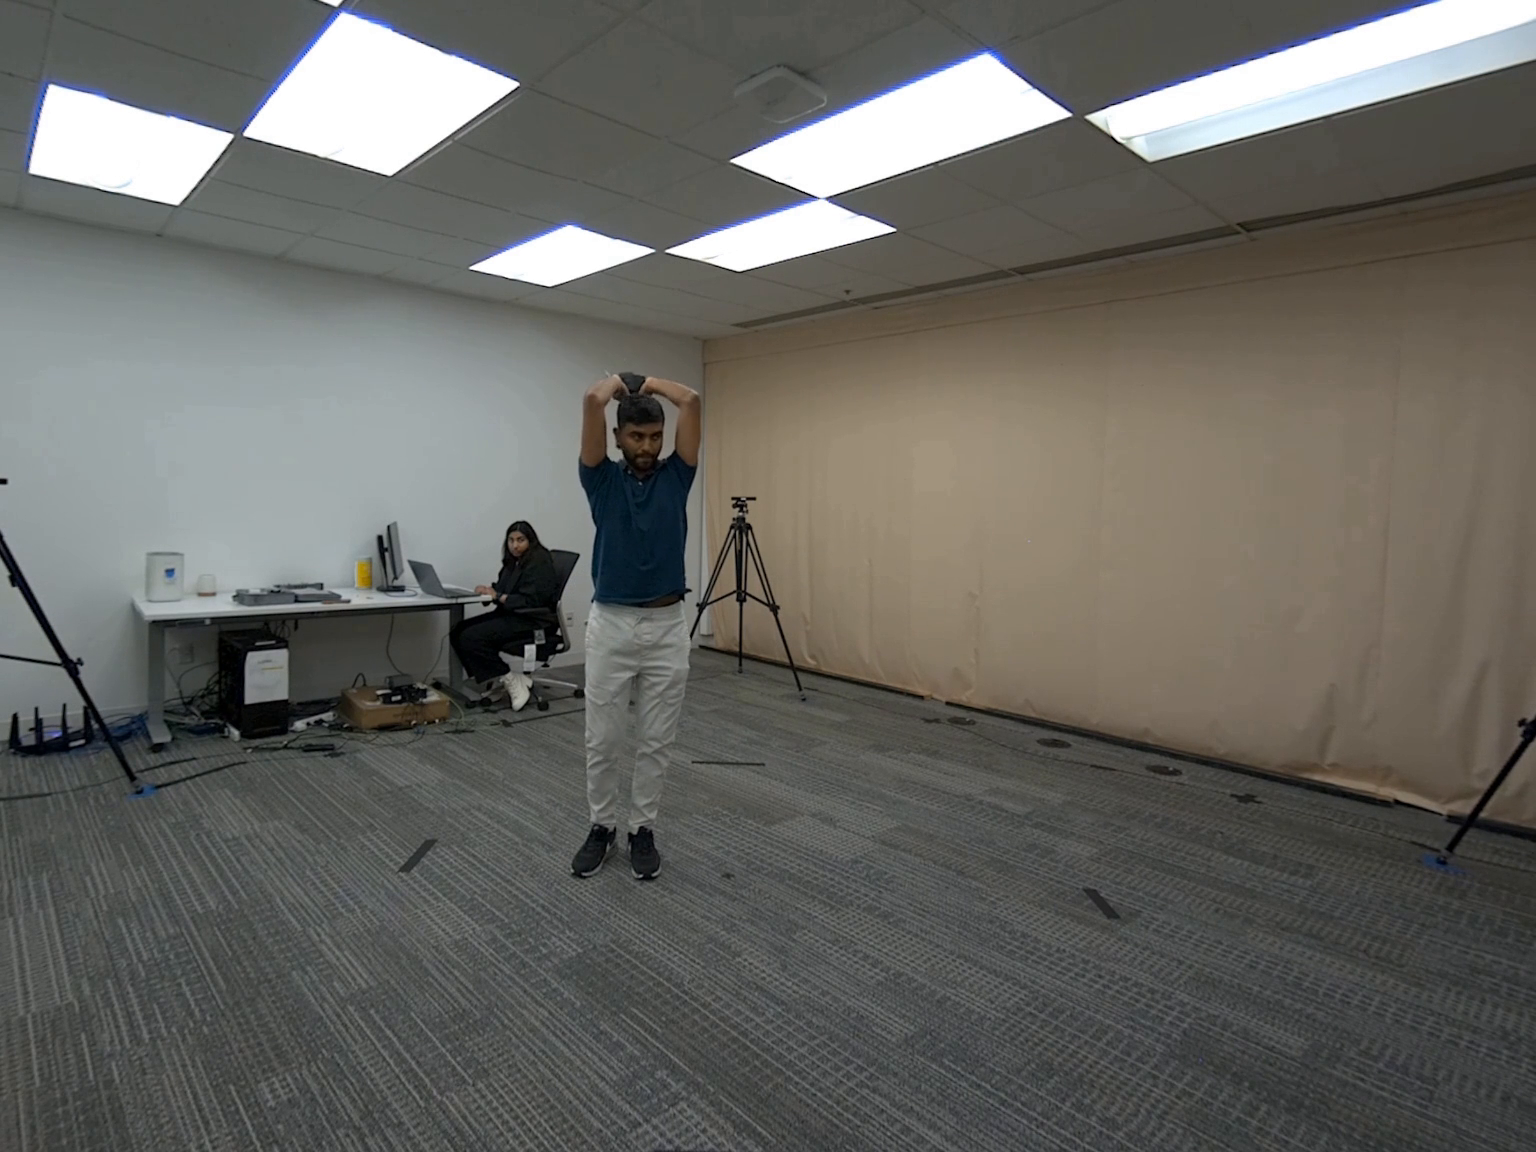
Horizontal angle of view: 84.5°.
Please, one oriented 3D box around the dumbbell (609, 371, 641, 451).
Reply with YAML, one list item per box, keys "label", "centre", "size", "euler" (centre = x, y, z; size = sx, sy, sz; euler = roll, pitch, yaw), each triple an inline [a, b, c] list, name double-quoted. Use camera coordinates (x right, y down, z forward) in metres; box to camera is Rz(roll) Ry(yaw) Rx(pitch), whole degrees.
- label: "dumbbell"
  centre: [-0.550, -0.637, 3.265]
  size: [0.108, 0.292, 0.124]
  euler: [-3, 6, -12]
